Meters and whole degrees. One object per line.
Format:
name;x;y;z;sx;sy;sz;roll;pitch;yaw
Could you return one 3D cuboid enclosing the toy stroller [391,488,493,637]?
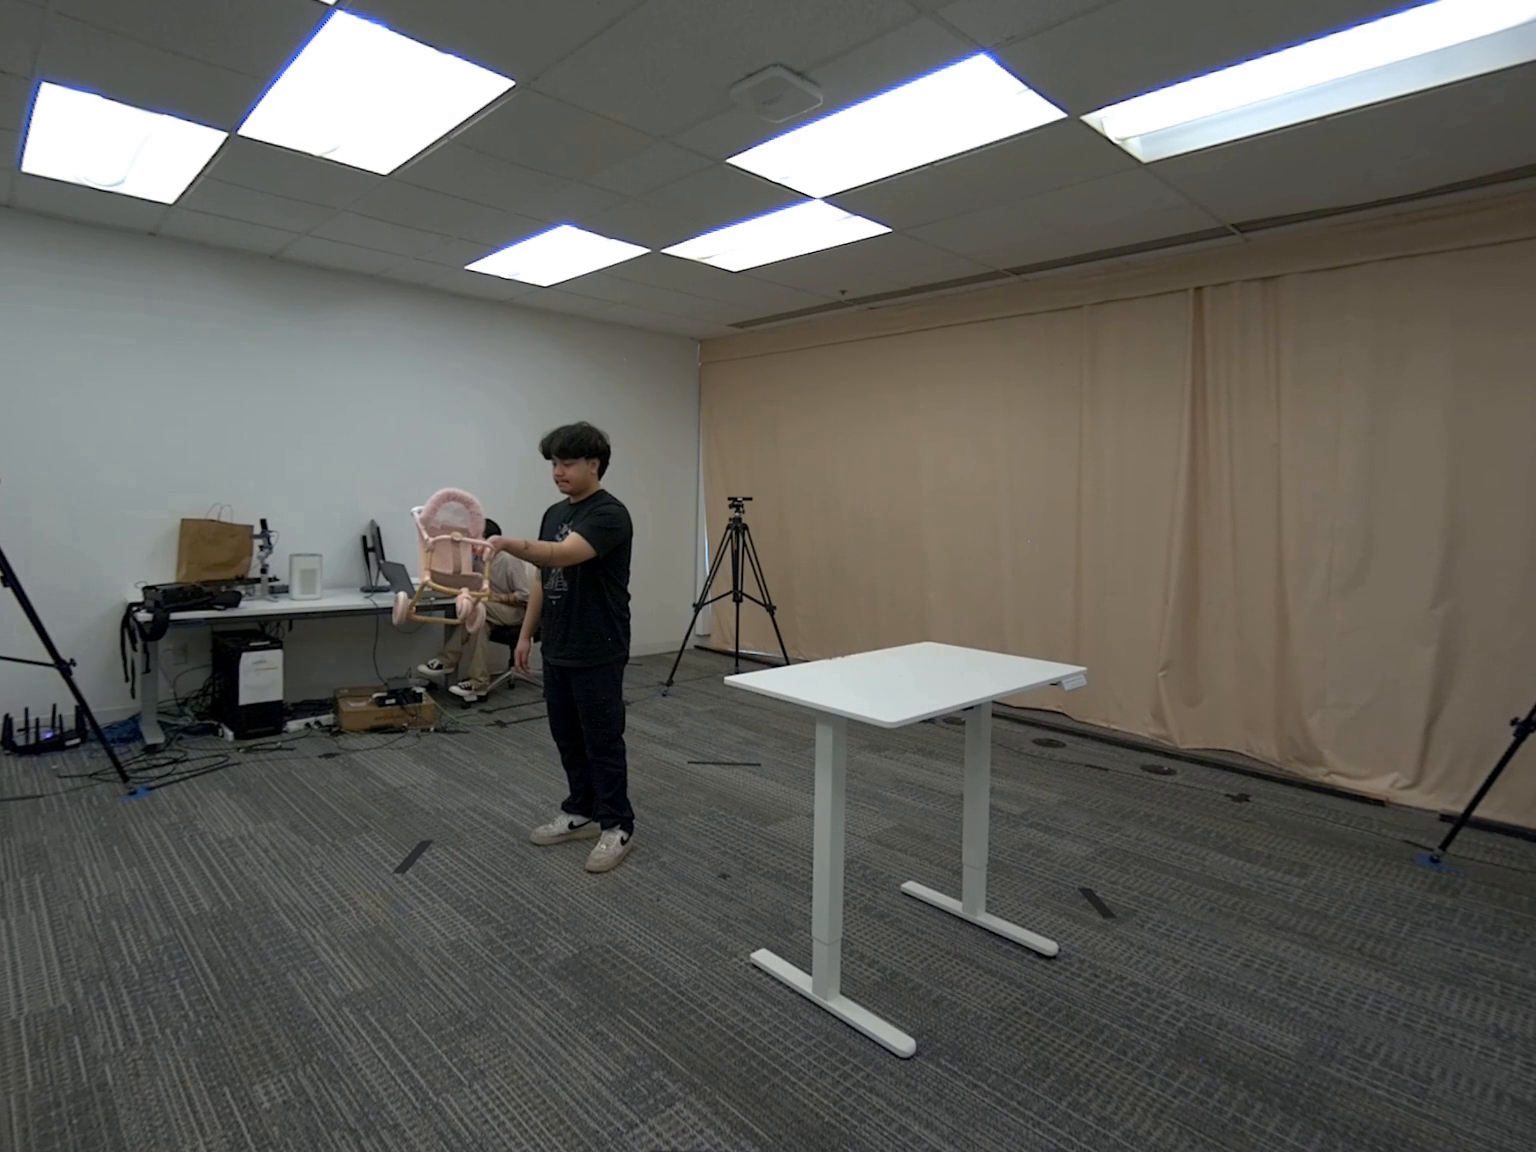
toy stroller;-1.045;-0.055;2.735;0.275;0.546;0.343;9;-30;-32
